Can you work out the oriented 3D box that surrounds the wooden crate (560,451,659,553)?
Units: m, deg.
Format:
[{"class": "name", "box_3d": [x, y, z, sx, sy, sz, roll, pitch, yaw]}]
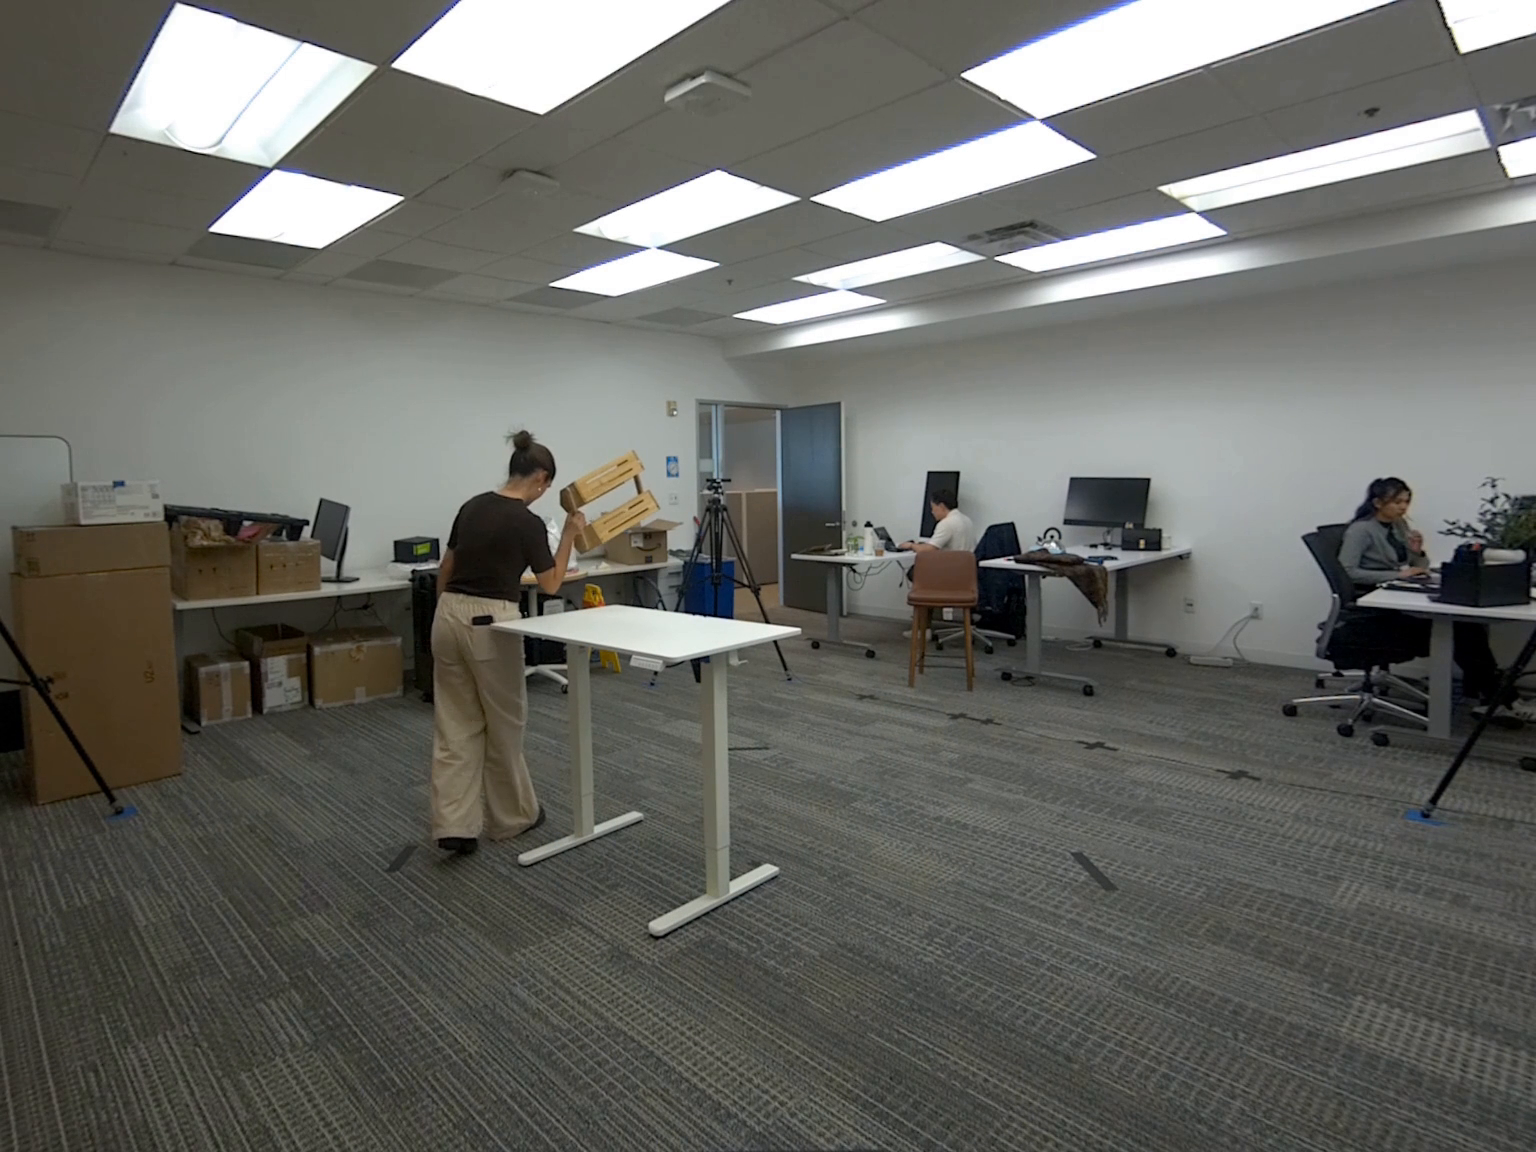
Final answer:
[{"class": "wooden crate", "box_3d": [-0.657, -0.294, 3.433, 0.322, 0.271, 0.307, -35, 8, -33]}]
